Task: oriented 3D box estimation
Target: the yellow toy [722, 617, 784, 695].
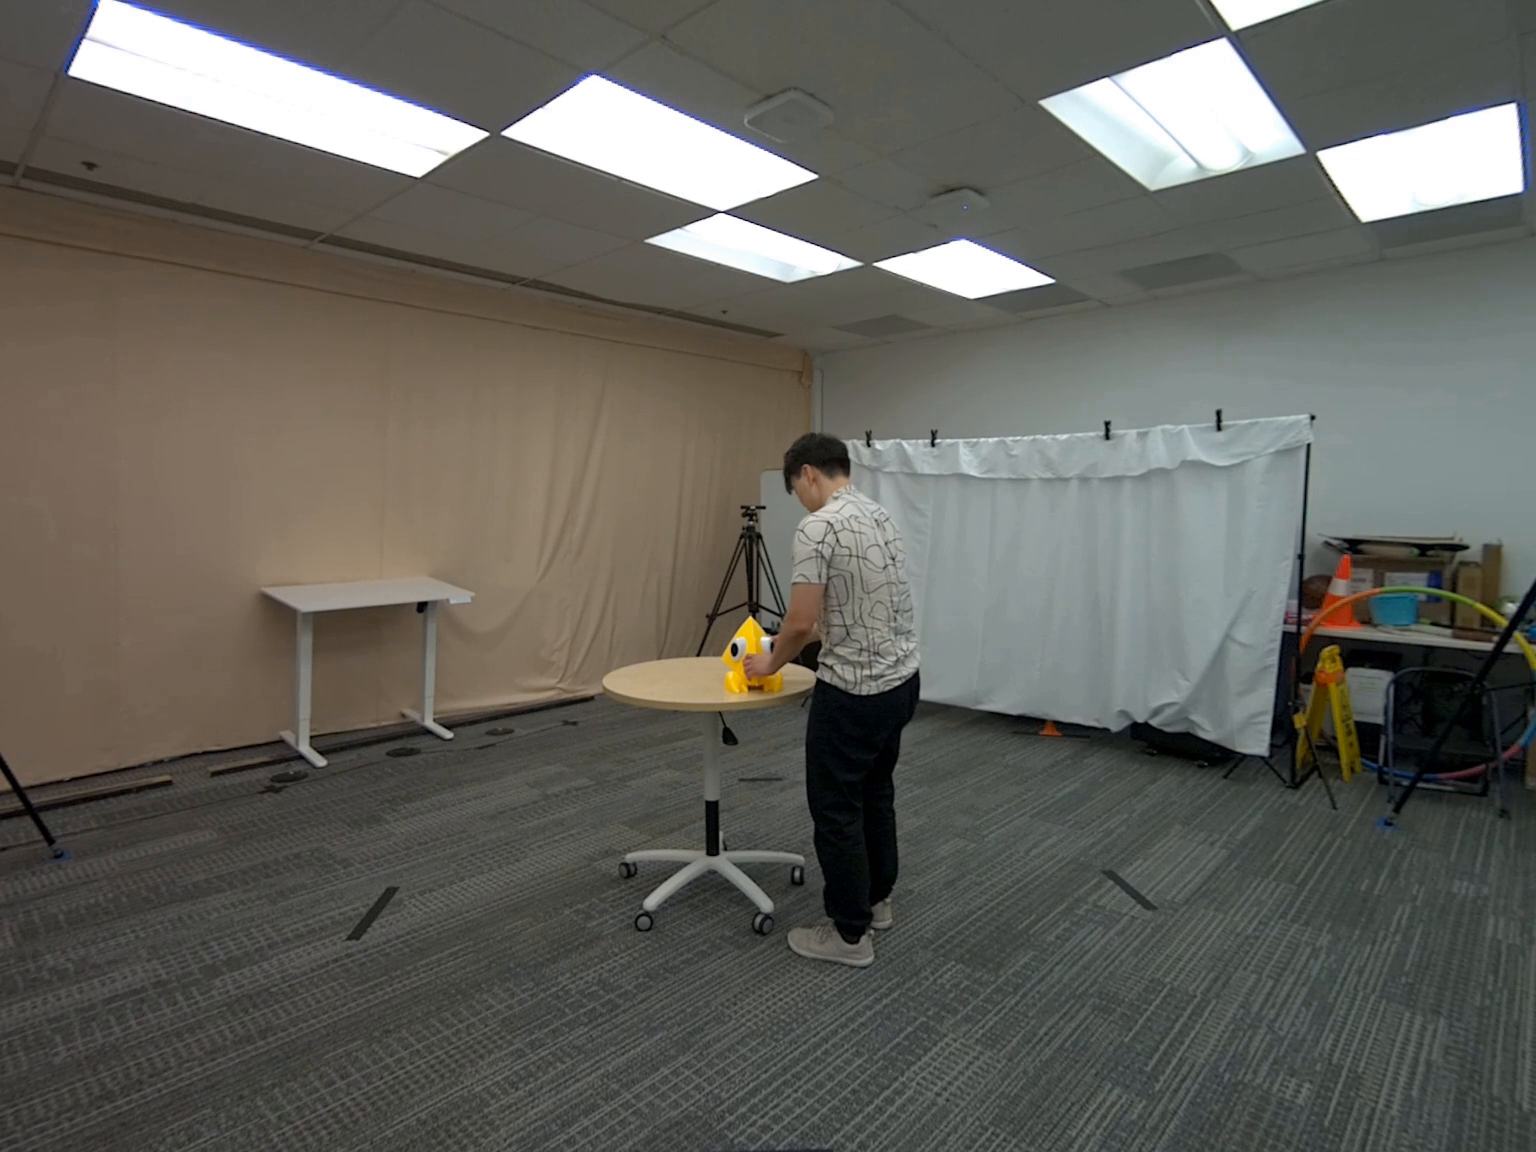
[{"bbox_3d":[-0.044,0.260,2.834,0.204,0.230,0.194,1,4,-5],"label":"yellow toy"}]
